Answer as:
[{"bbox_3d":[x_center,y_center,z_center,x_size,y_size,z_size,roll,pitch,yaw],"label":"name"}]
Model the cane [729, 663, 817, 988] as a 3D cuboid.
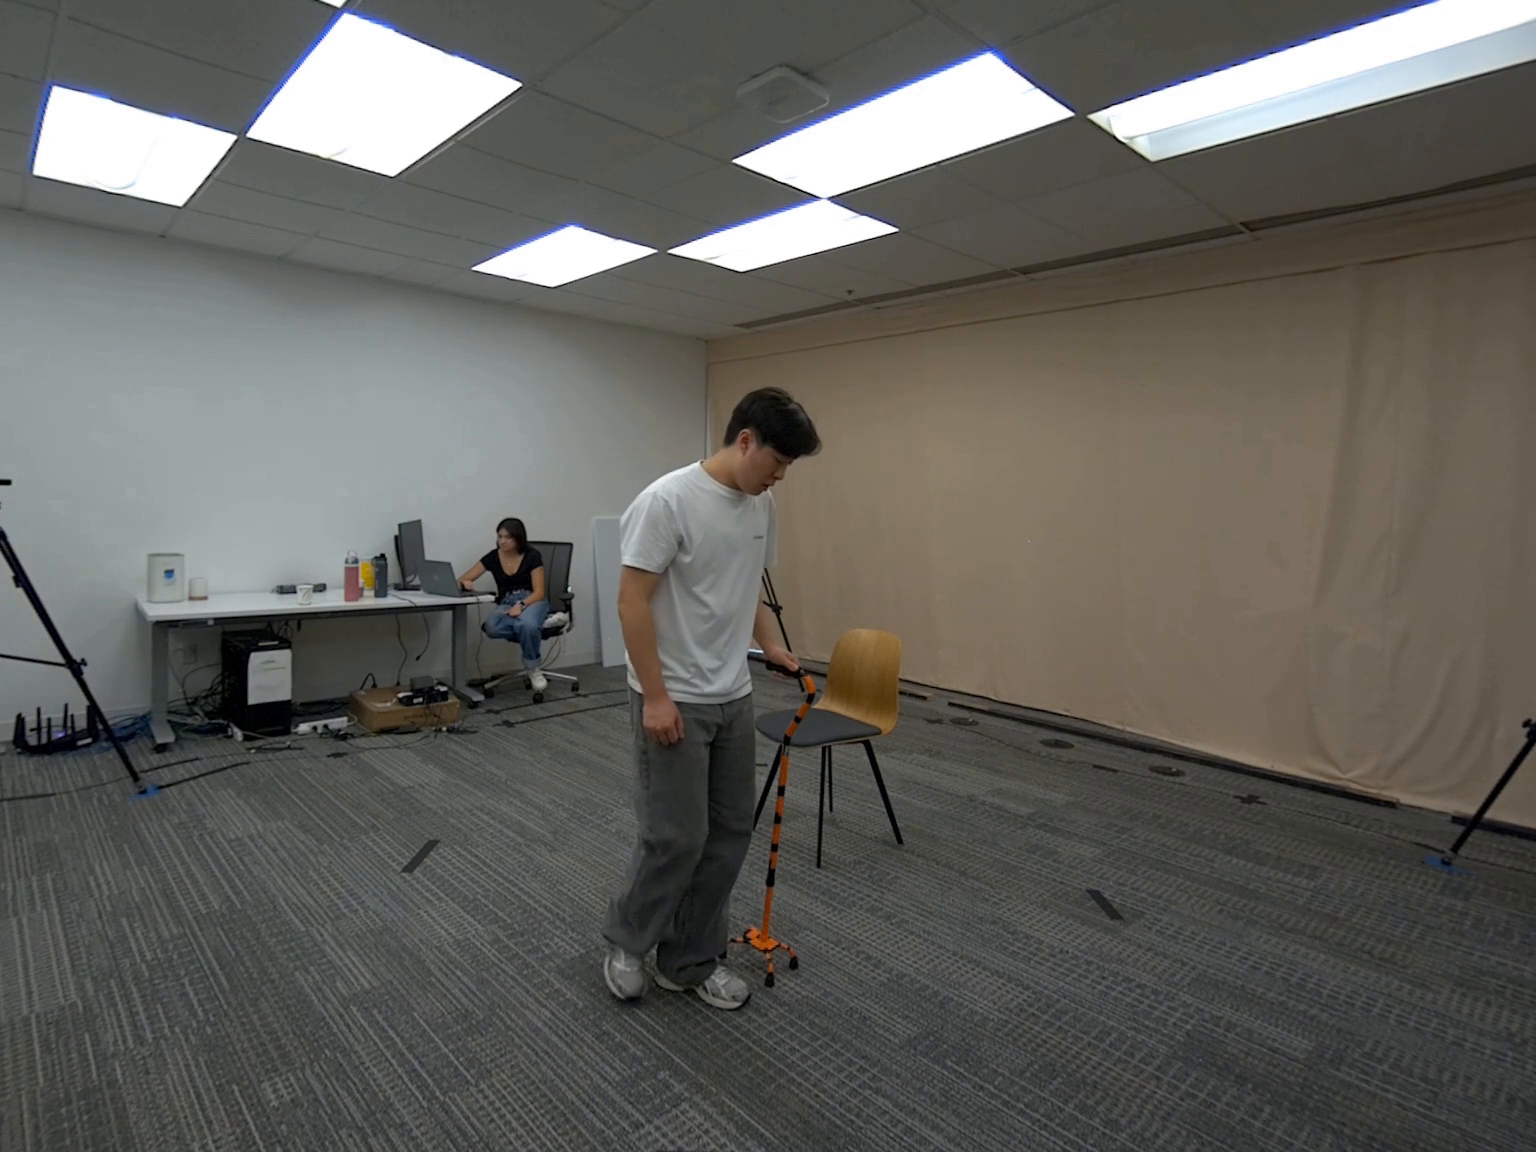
[{"bbox_3d":[0.016,0.714,2.464,0.212,0.905,0.148,10,5,41],"label":"cane"}]
